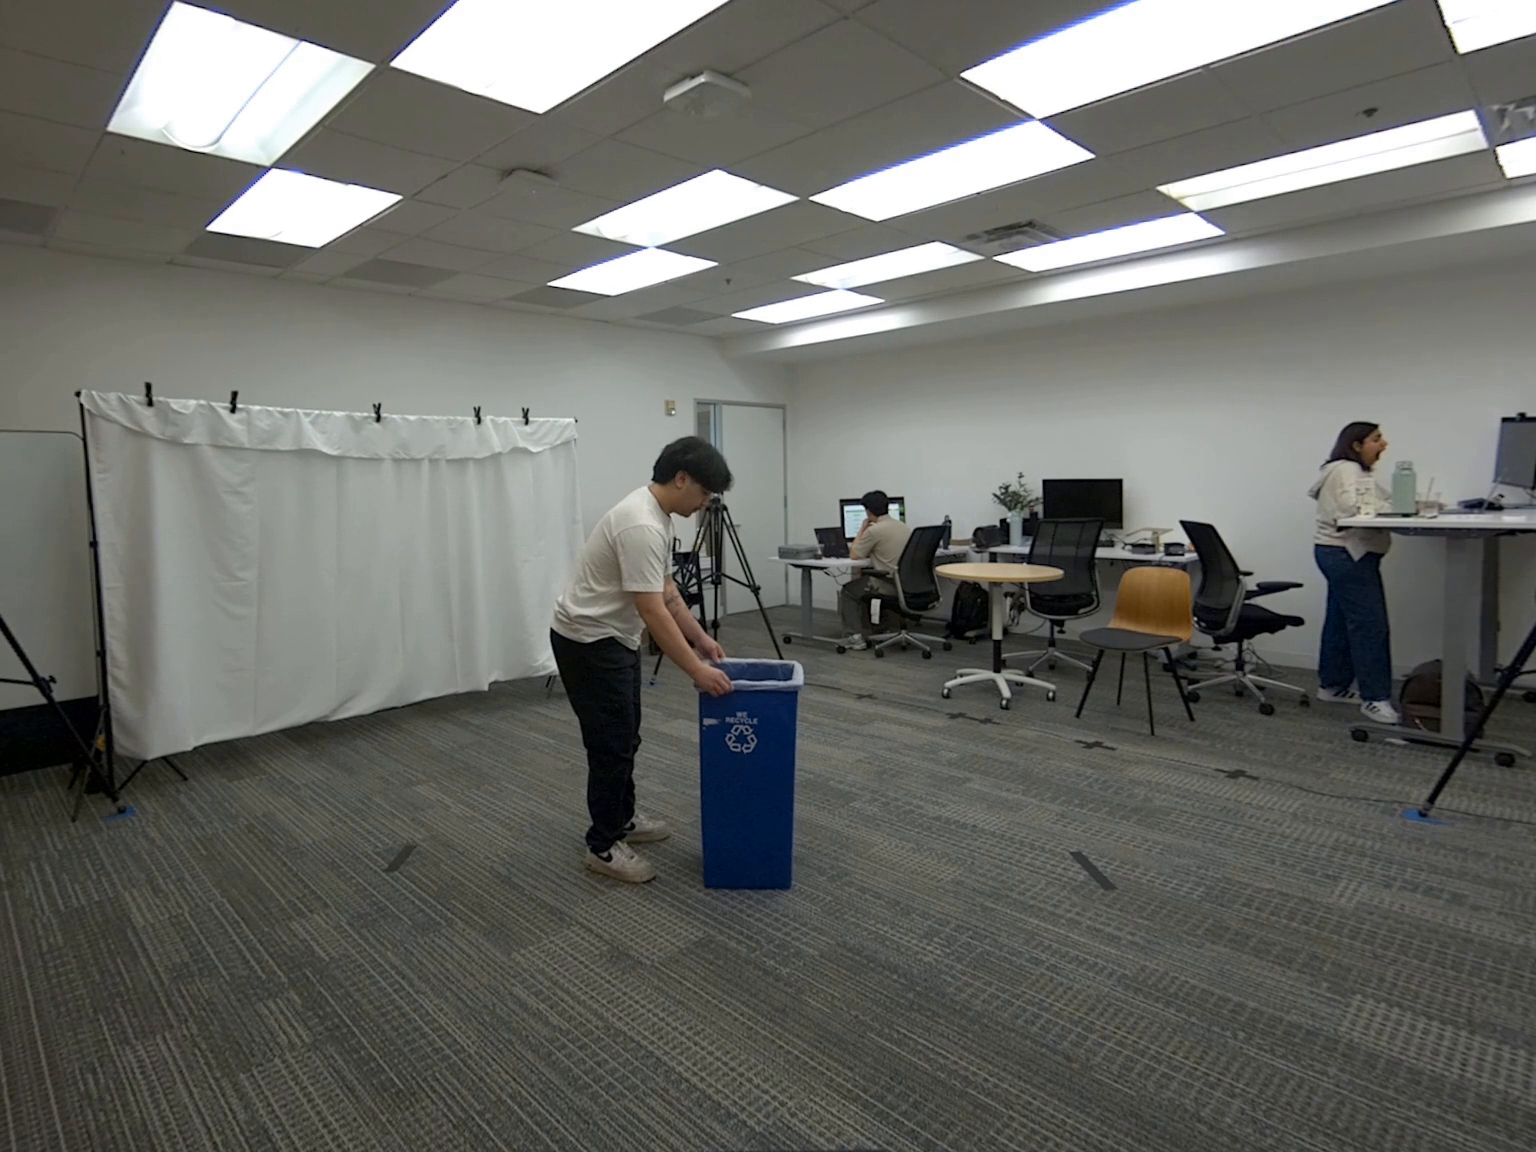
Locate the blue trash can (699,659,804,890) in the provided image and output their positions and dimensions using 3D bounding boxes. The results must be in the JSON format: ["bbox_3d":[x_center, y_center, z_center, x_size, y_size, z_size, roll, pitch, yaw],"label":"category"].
[{"bbox_3d":[-0.068,0.688,3.031,0.375,0.711,0.378,-1,4,1],"label":"blue trash can"}]
